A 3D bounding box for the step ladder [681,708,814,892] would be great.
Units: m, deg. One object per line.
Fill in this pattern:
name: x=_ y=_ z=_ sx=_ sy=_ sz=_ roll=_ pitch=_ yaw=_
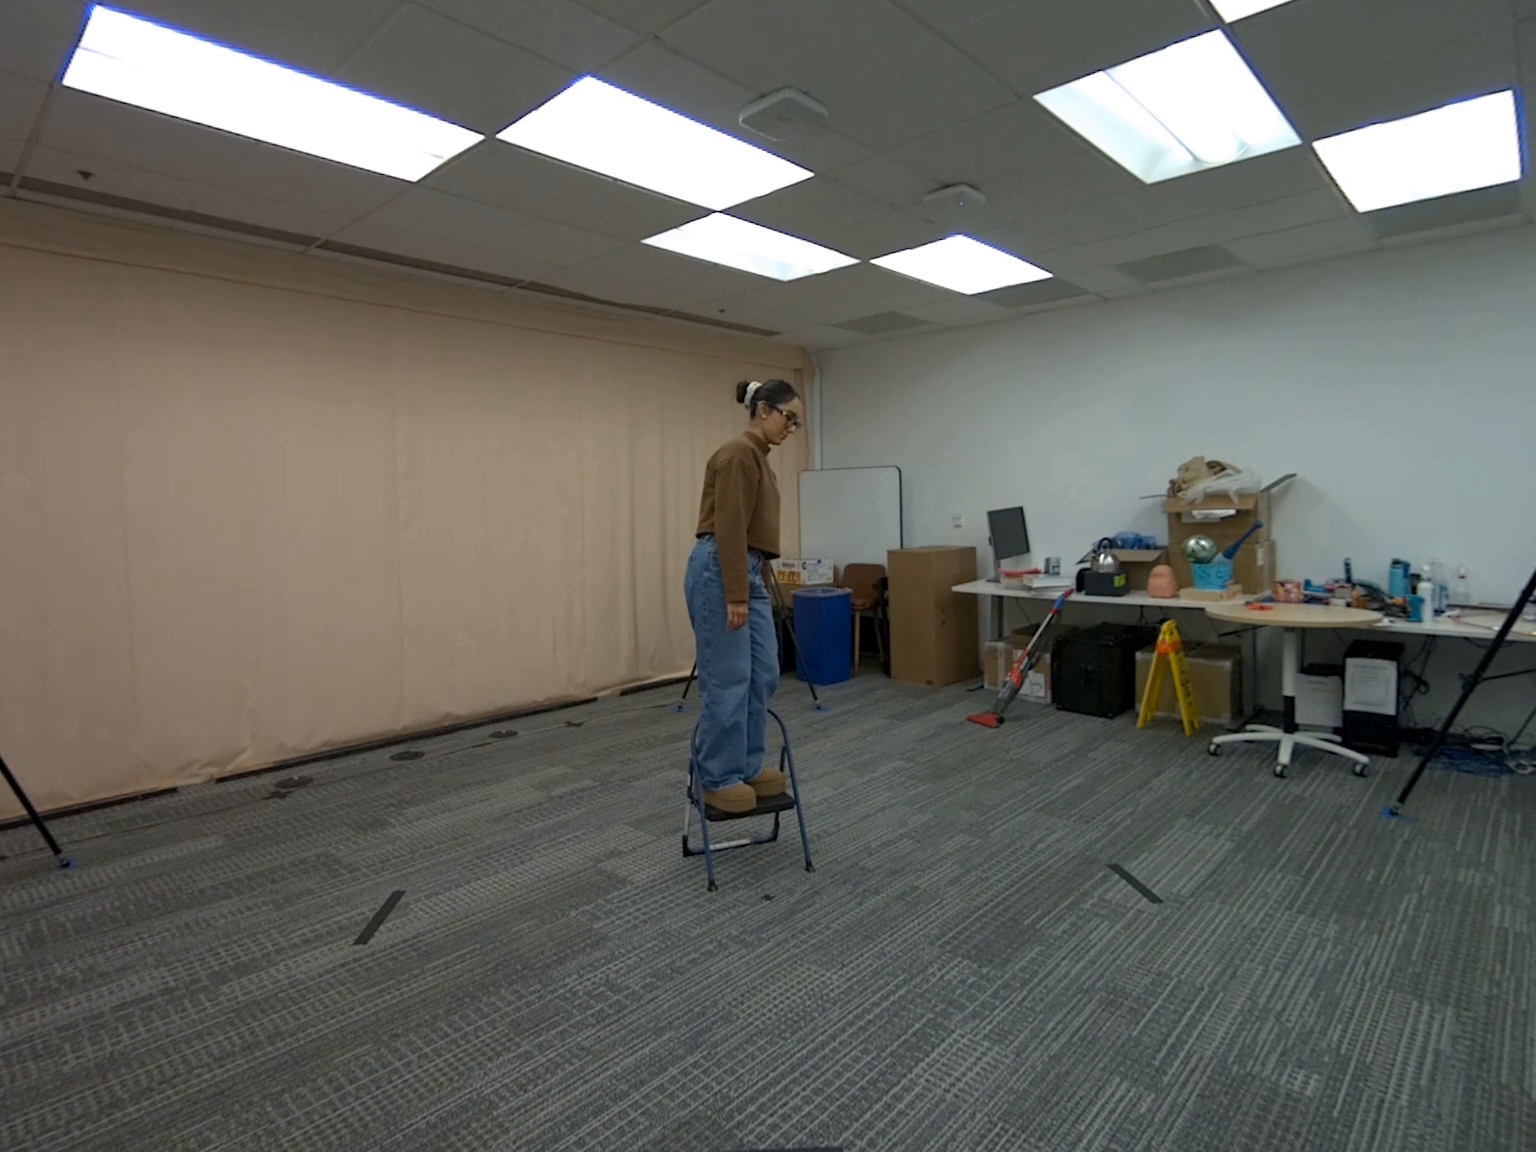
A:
step ladder: x=-0.085 y=0.818 z=3.260 sx=0.421 sy=0.605 sz=0.358 roll=-3 pitch=4 yaw=-24
